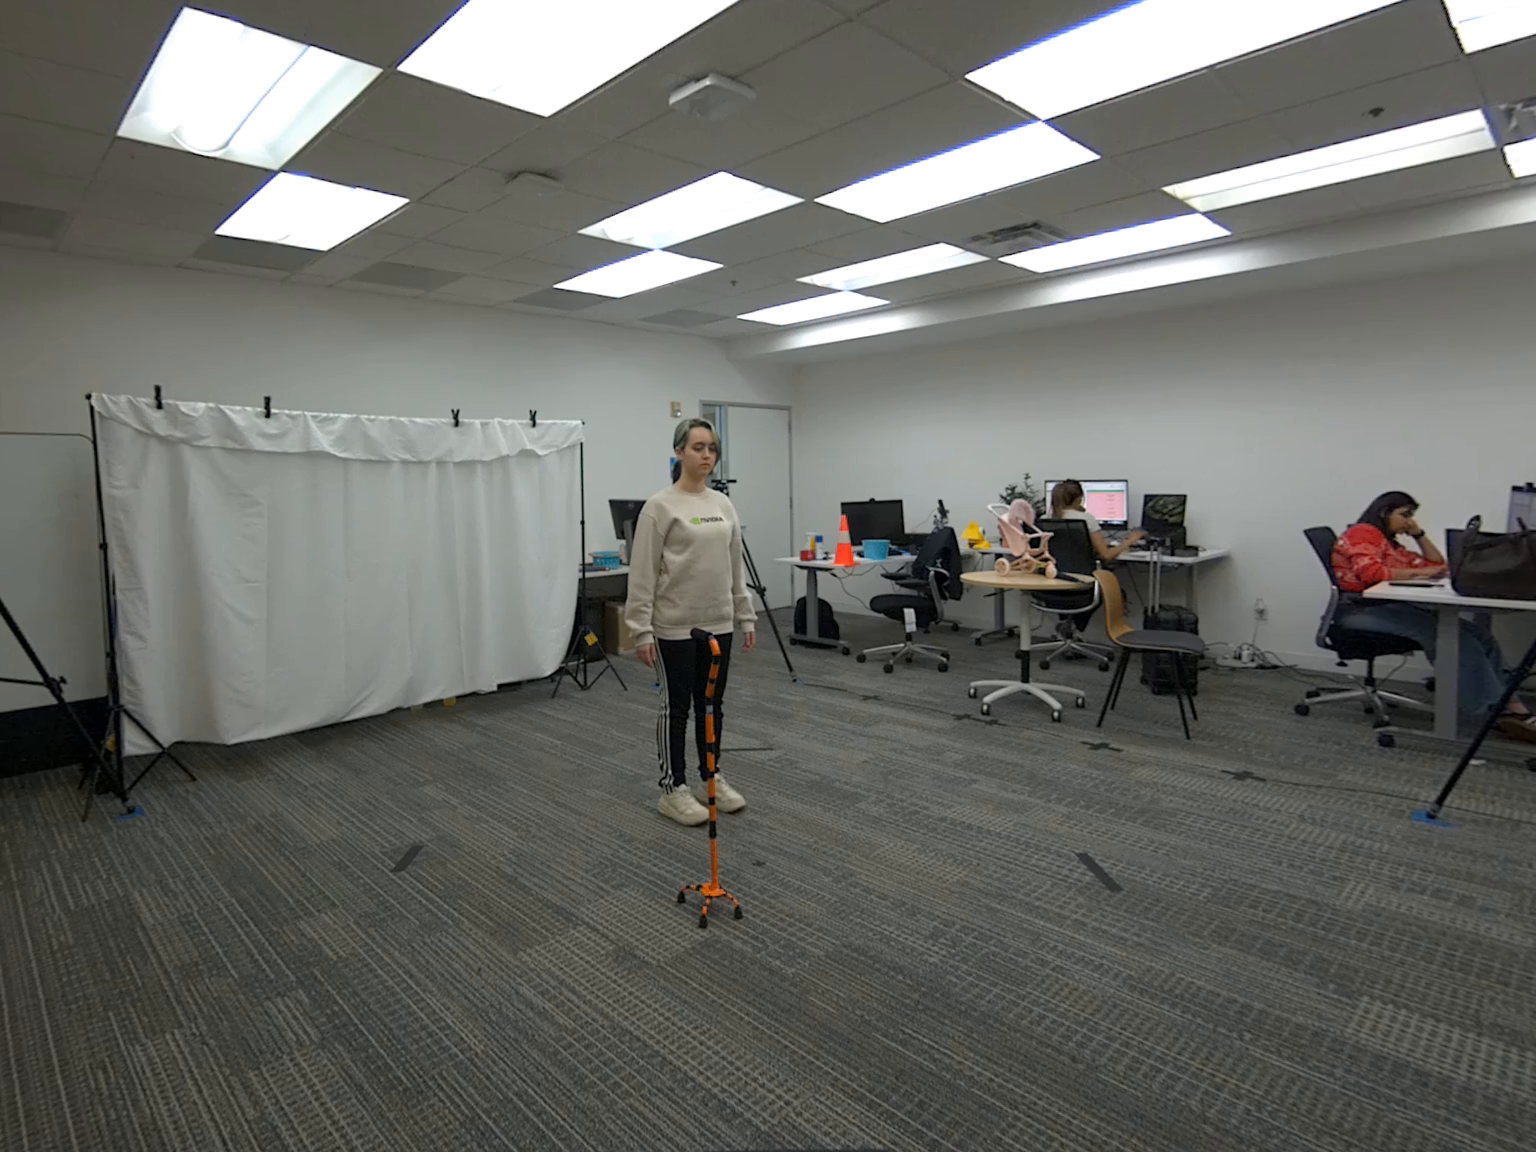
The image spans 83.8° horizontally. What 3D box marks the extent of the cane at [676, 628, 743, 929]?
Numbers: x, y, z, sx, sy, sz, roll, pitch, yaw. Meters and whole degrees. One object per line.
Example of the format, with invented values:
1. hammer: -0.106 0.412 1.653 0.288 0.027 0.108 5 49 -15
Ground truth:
1. cane: -0.194 0.638 2.756 0.148 0.905 0.212 -3 4 -30
